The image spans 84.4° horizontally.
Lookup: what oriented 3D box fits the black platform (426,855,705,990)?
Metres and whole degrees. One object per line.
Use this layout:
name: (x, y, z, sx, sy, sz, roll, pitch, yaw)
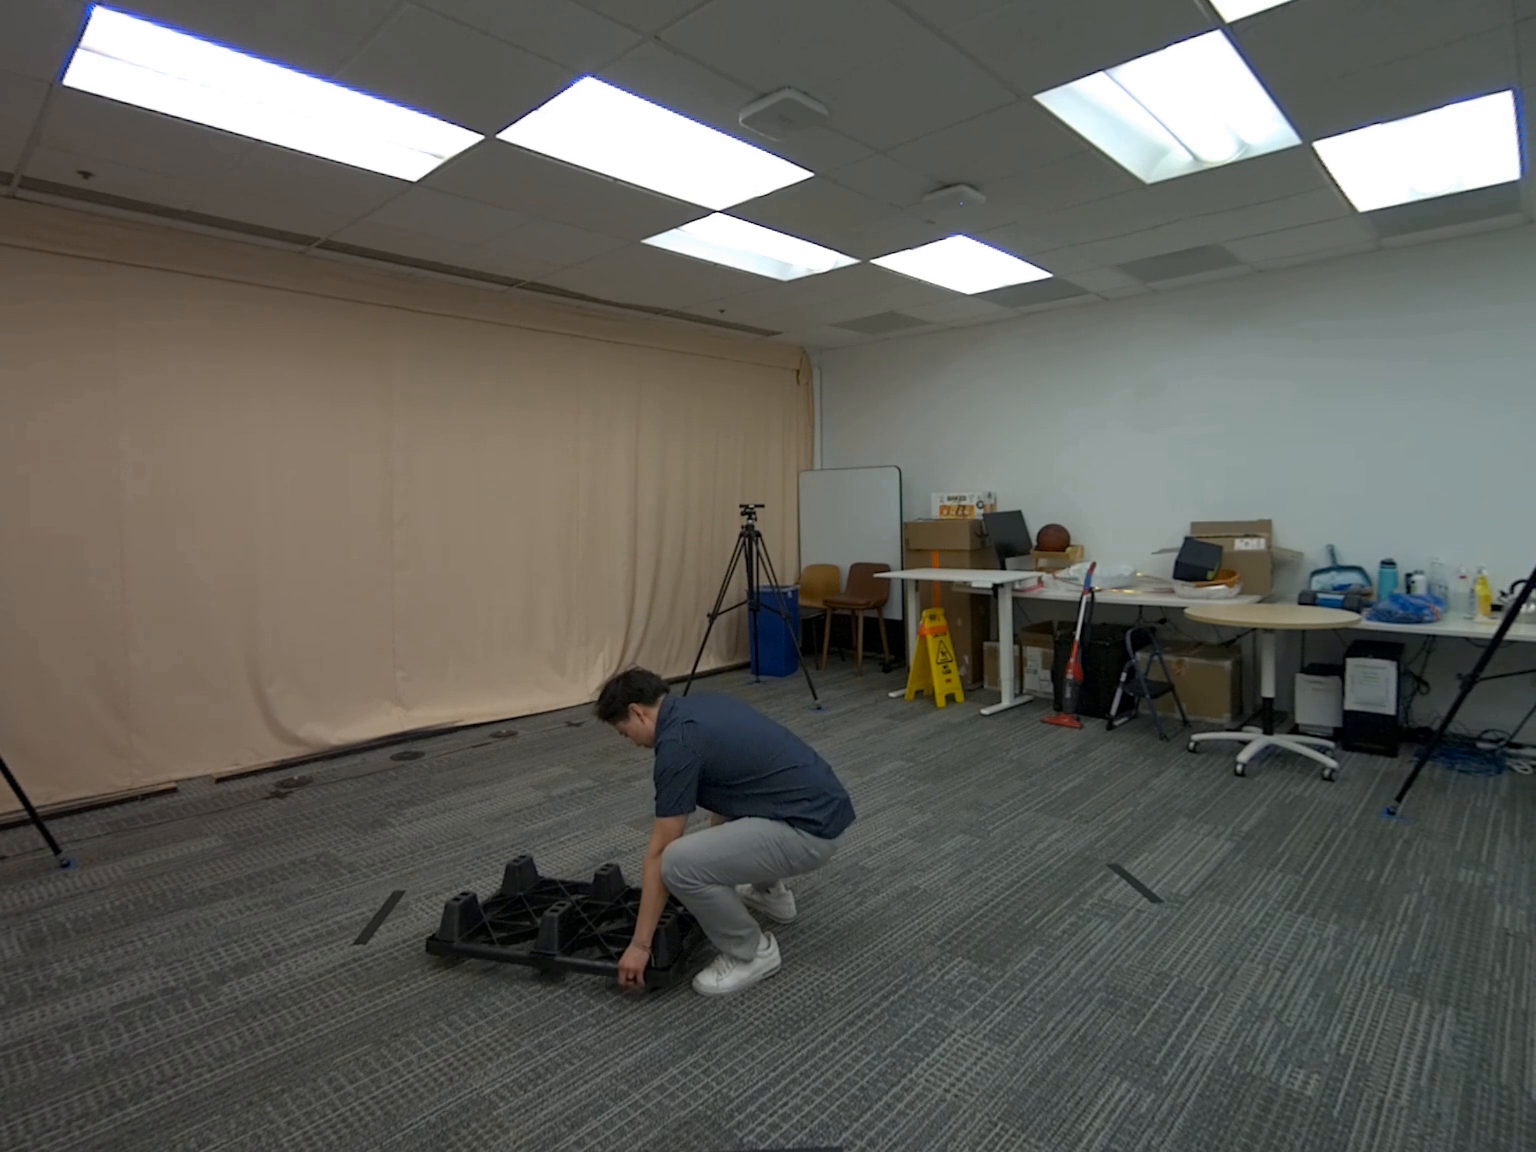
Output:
black platform: (-0.610, 1.091, 2.740, 0.819, 0.143, 0.595, -1, 0, 15)
